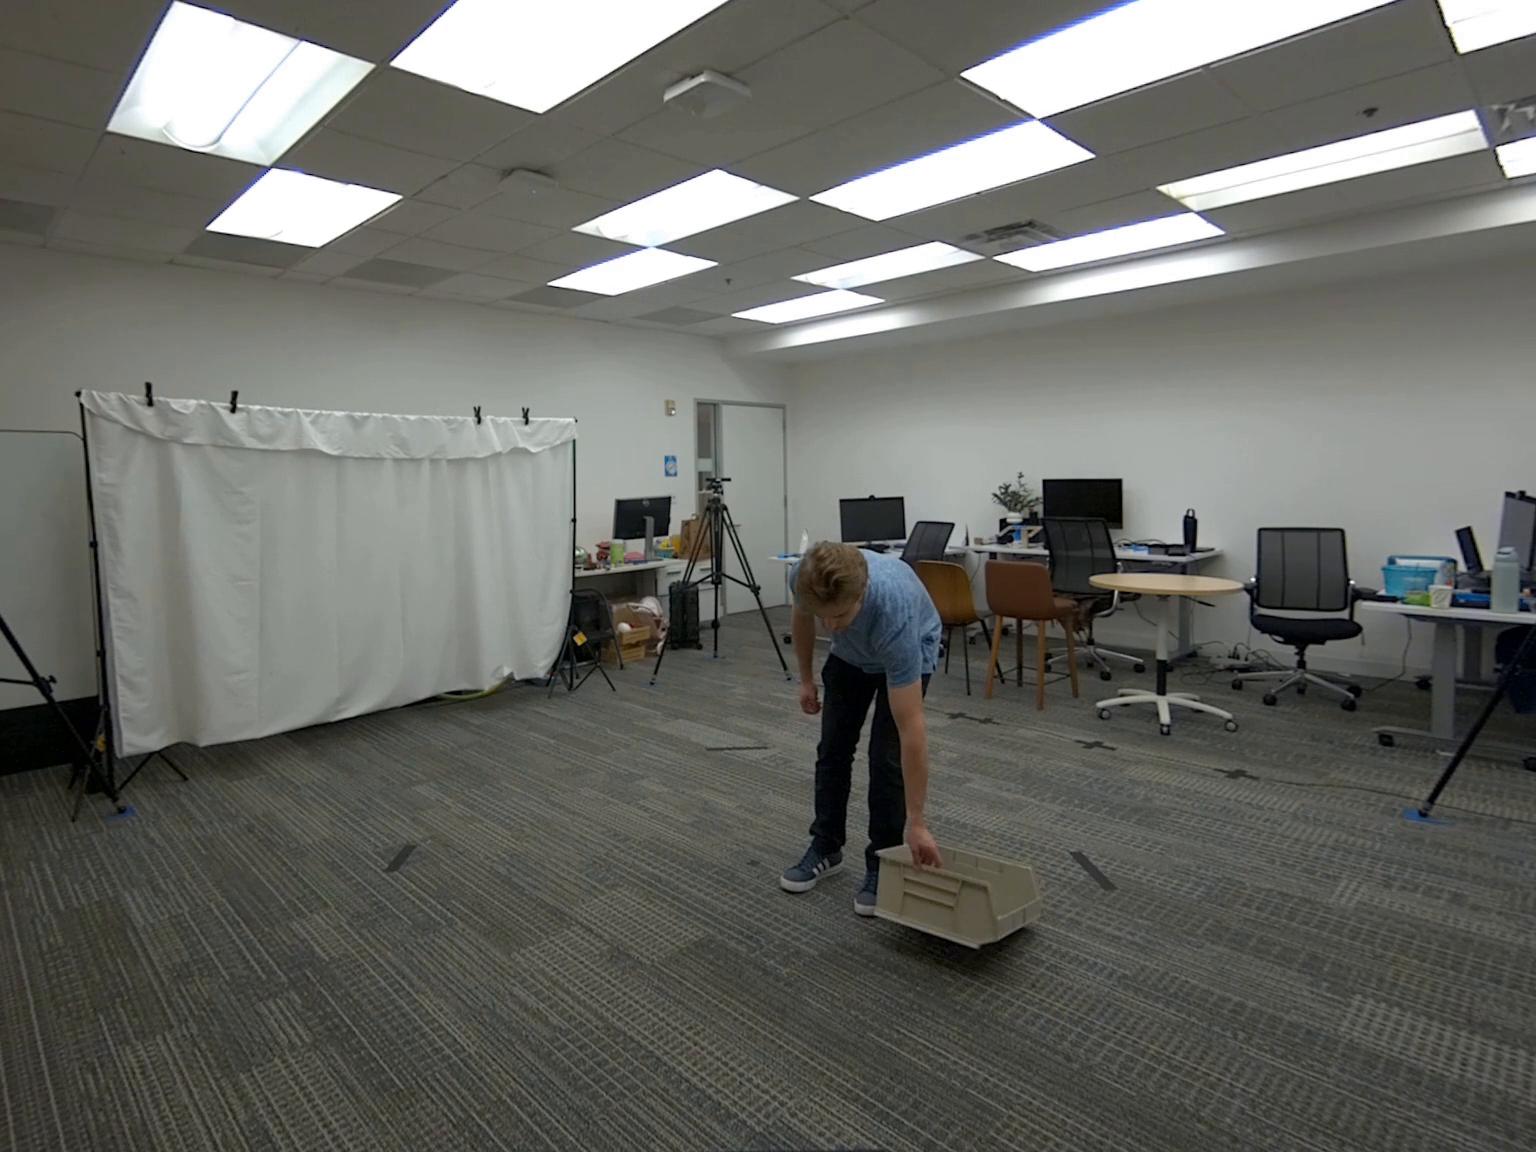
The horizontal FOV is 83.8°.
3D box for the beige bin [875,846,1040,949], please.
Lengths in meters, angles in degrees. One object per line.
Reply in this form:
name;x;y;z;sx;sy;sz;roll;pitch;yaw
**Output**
beige bin;0.585;0.952;2.580;0.388;0.190;0.408;3;-7;34
